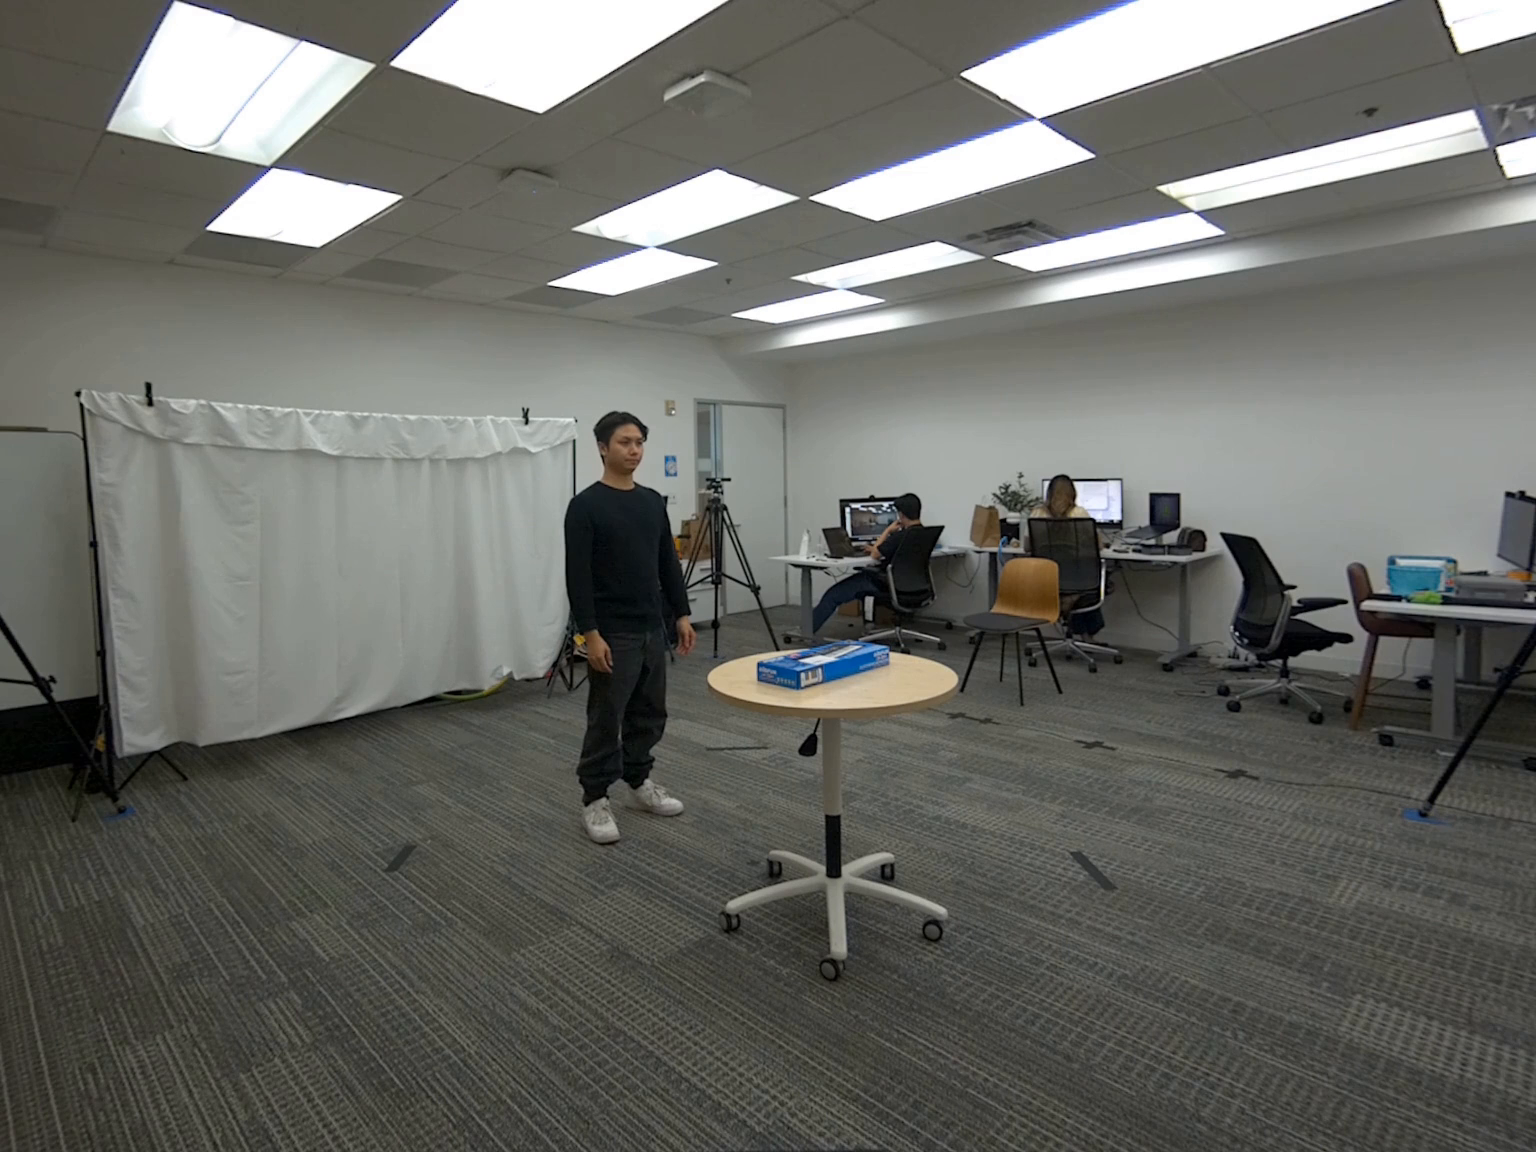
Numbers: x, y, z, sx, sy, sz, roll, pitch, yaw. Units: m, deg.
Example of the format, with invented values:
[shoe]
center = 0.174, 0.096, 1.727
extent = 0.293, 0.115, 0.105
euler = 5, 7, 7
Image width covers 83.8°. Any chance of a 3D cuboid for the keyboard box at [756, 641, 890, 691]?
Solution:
[keyboard box]
center = 0.181, 0.273, 2.681
extent = 0.426, 0.059, 0.181
euler = -8, 10, -43
